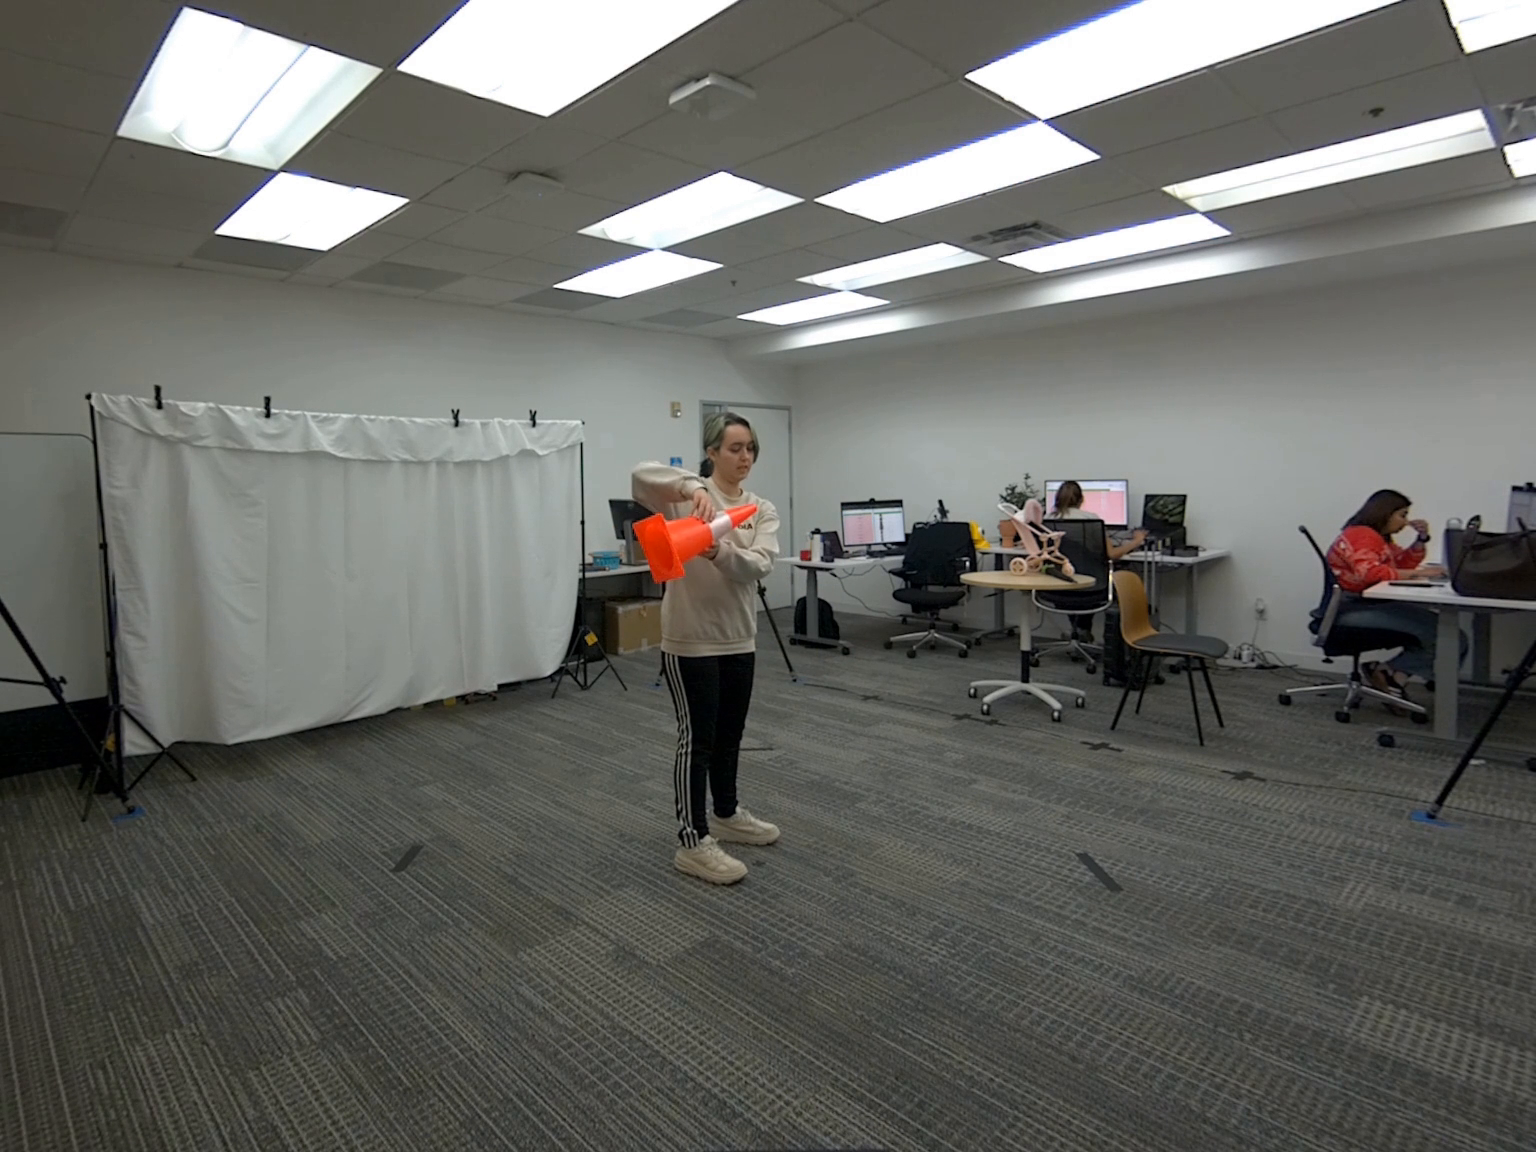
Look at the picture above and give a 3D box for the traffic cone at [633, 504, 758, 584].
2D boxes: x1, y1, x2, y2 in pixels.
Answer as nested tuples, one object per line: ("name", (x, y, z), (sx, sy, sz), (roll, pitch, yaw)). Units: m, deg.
("traffic cone", (-0.193, -0.135, 2.671), (0.379, 0.204, 0.207), (-27, 6, -33))
